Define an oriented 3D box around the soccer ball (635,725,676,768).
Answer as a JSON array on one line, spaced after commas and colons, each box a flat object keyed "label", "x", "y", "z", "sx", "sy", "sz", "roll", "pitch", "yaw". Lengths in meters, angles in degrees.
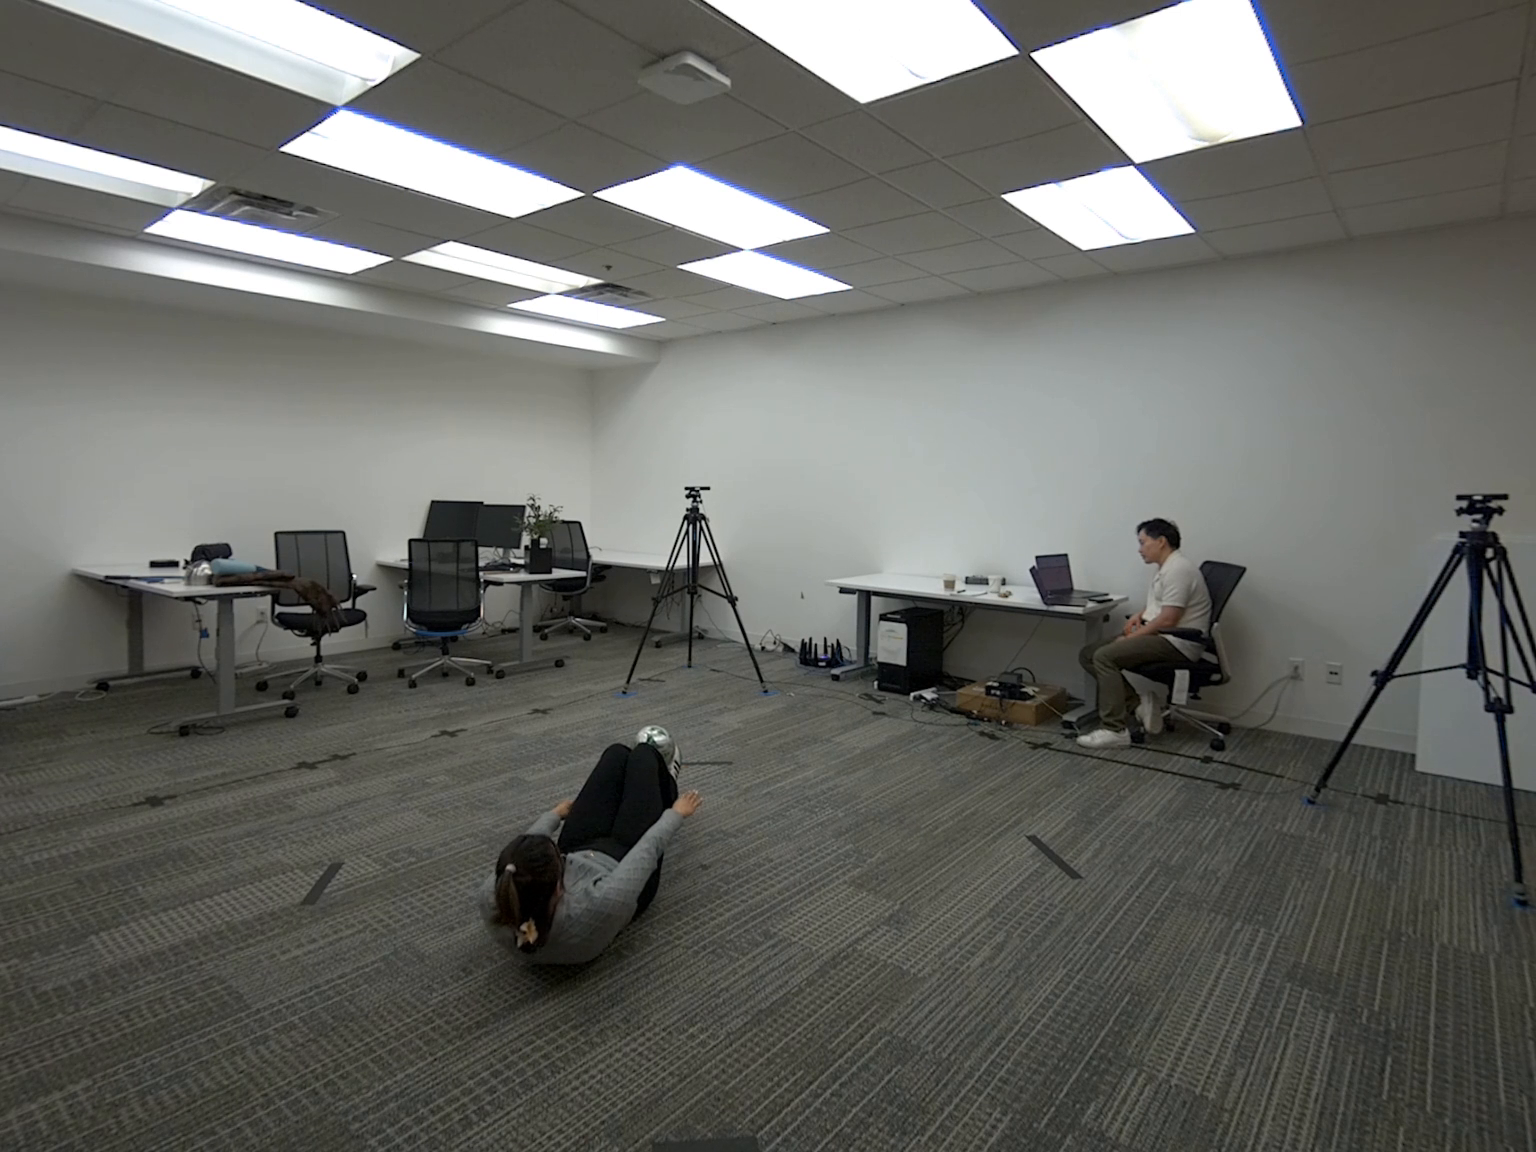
[{"label": "soccer ball", "x": -0.482, "y": 0.700, "z": 3.482, "sx": 0.187, "sy": 0.187, "sz": 0.188, "roll": 0, "pitch": 4, "yaw": -2}]
